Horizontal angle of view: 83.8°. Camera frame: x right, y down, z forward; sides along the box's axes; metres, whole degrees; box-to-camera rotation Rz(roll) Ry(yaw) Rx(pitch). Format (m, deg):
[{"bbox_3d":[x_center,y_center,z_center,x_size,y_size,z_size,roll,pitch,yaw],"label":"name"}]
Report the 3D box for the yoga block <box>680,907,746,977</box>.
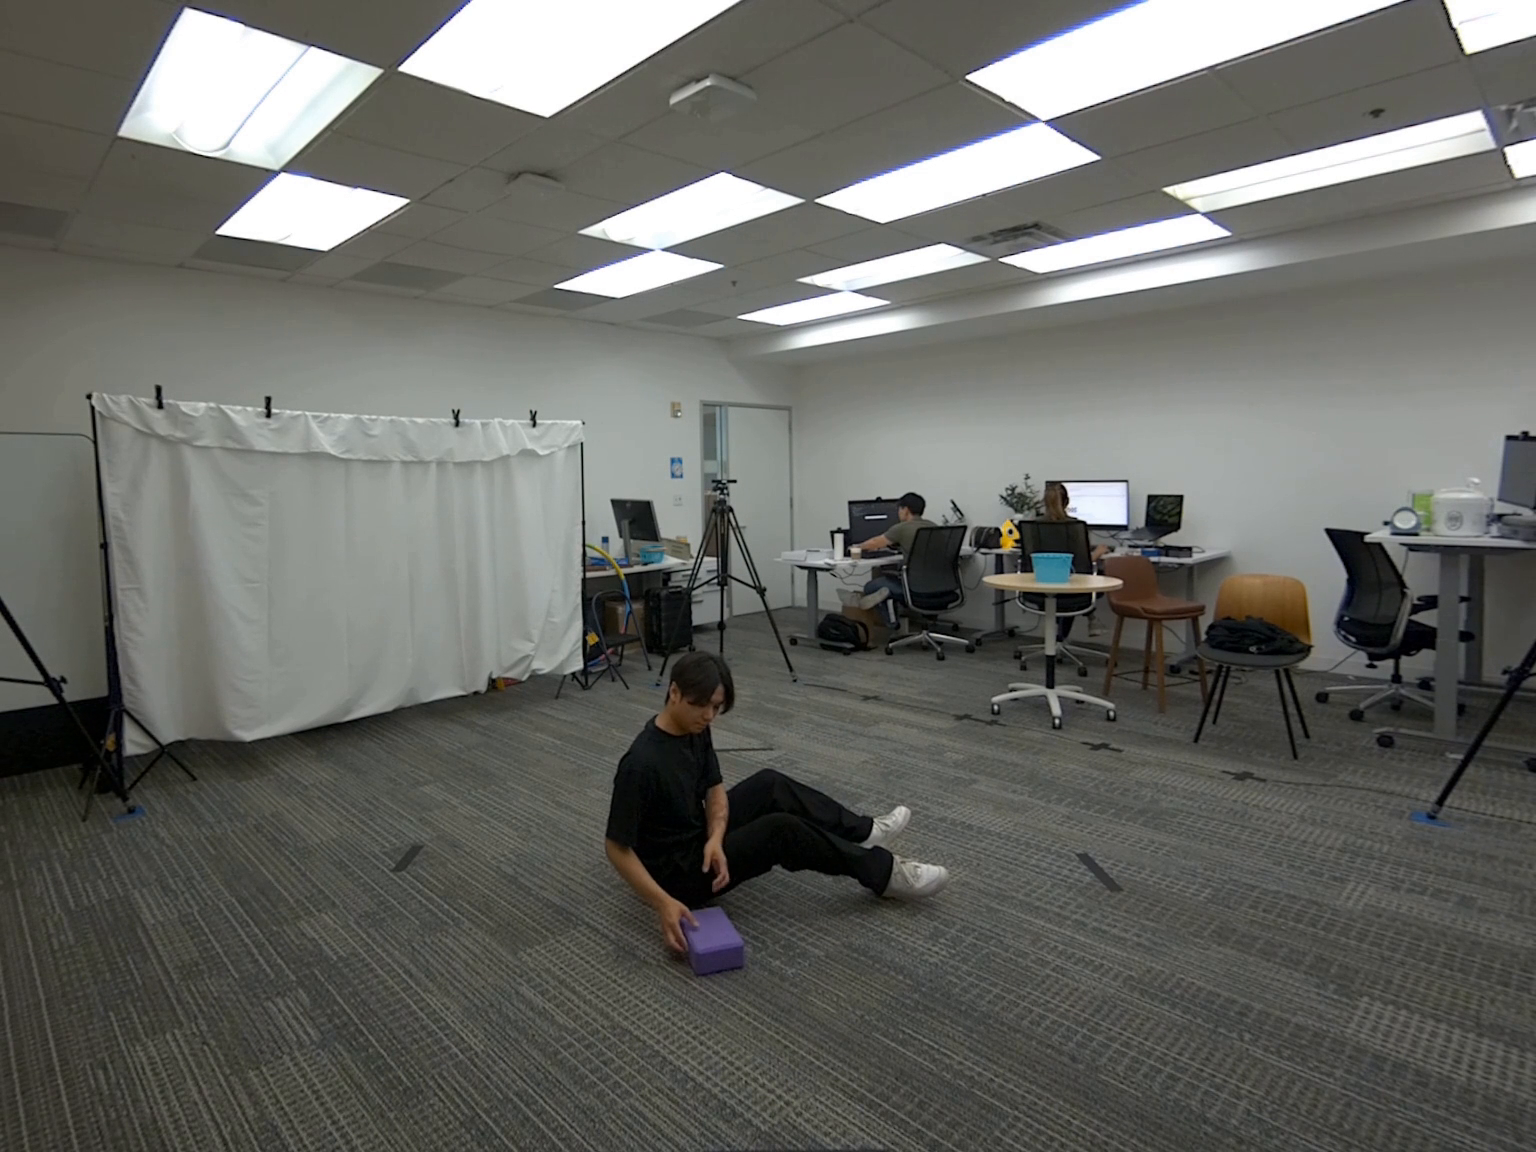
[{"bbox_3d":[-0.170,1.082,2.531,0.146,0.076,0.234,-2,6,-20],"label":"yoga block"}]
